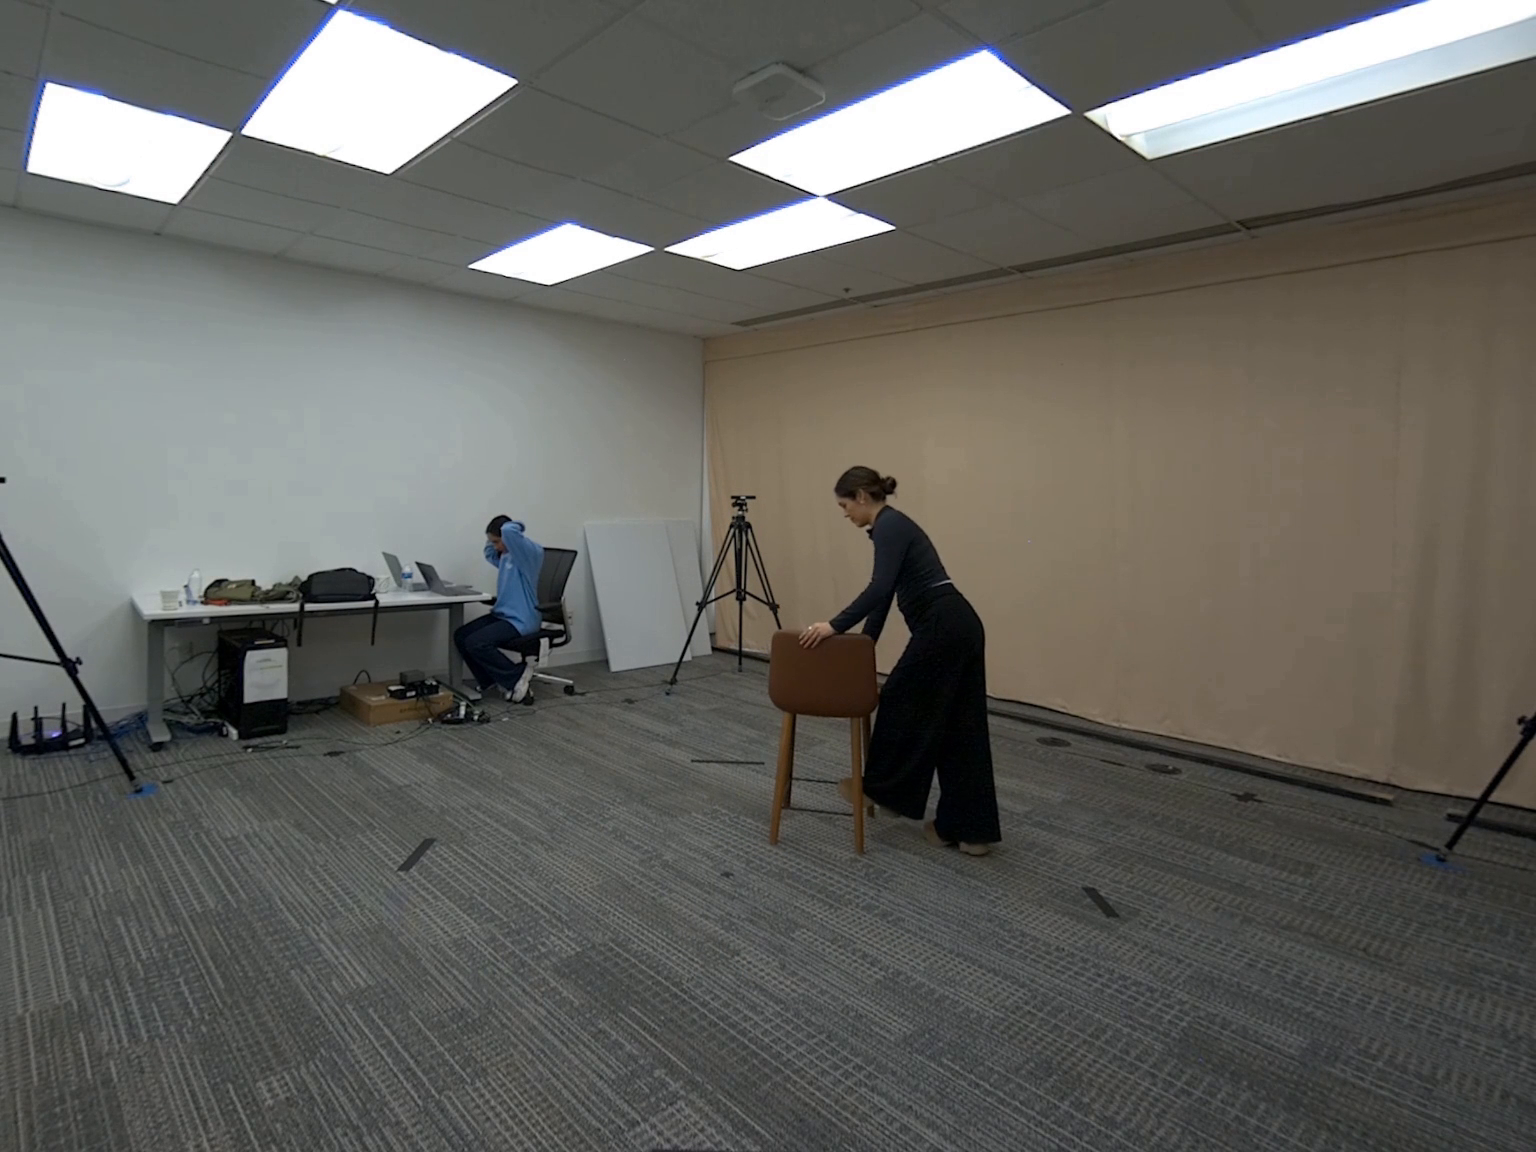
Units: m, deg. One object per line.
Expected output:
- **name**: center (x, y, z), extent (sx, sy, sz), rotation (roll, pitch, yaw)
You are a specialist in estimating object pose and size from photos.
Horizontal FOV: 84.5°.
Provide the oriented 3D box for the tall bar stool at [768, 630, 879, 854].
- **tall bar stool**: center (0.234, 0.635, 3.537), extent (0.461, 0.887, 0.464), rotation (2, 5, 12)
